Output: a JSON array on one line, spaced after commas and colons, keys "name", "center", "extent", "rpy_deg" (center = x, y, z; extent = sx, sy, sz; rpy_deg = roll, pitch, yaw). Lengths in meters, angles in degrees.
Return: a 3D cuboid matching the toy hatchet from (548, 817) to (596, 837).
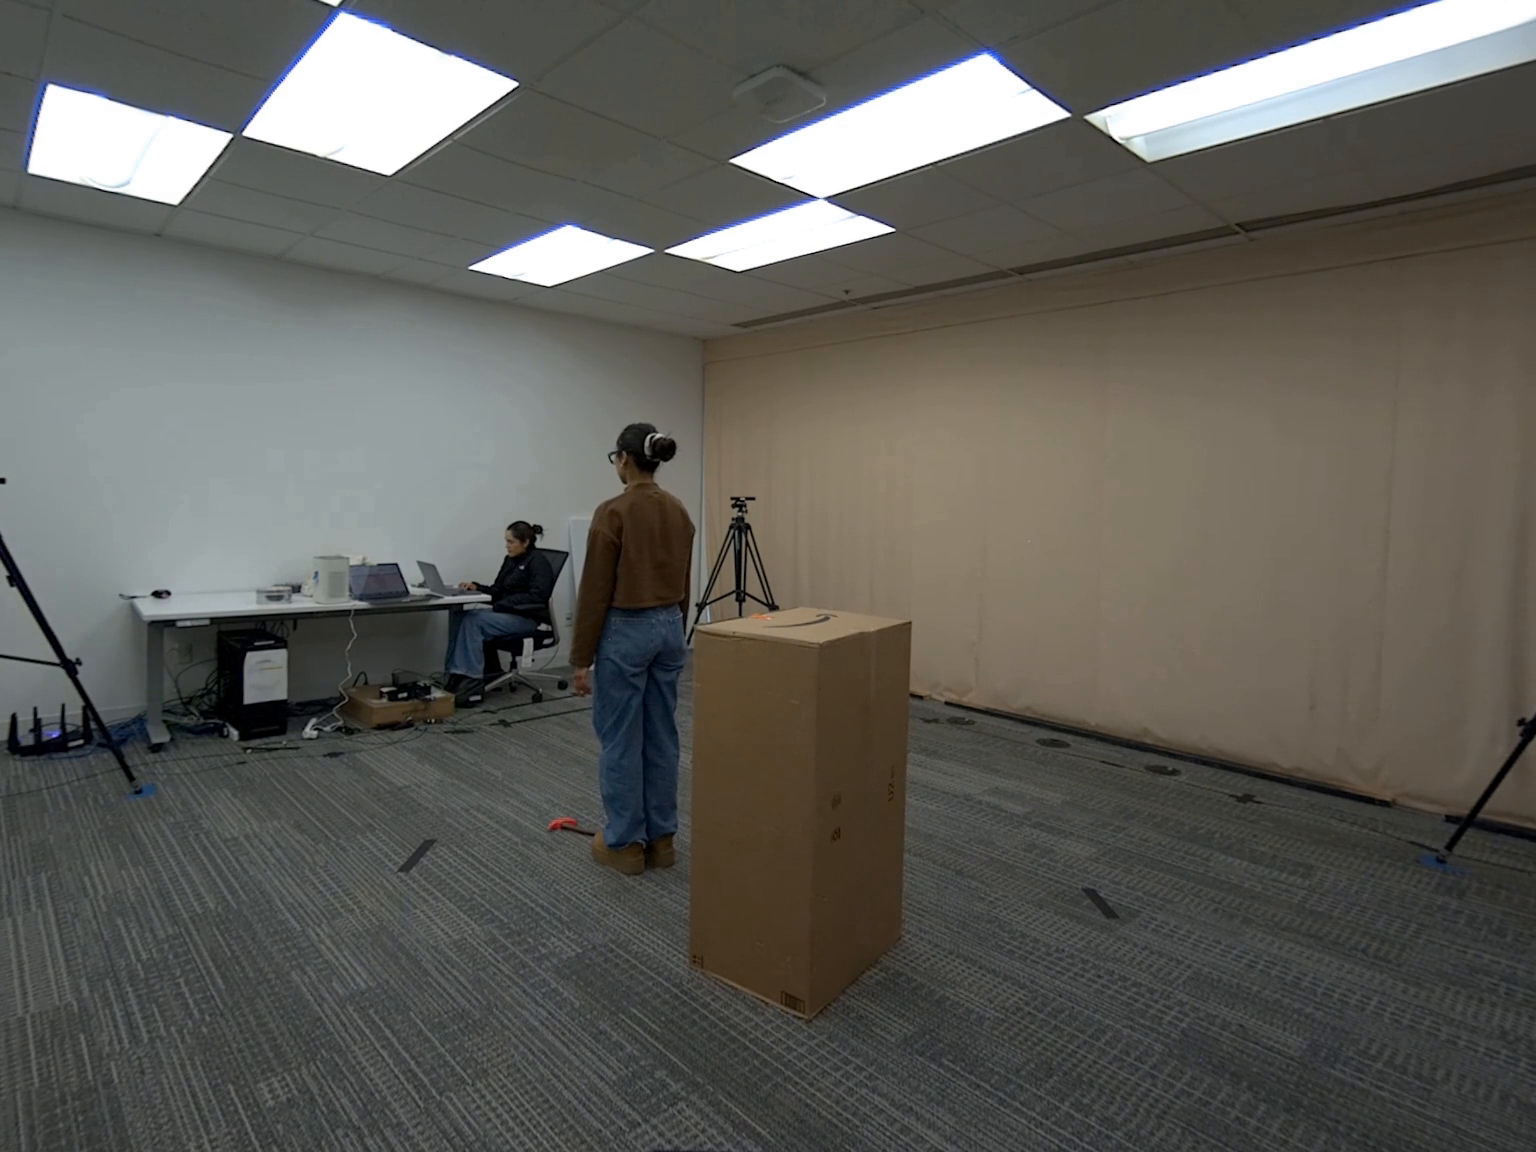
[{"name": "toy hatchet", "center": [-0.787, 1.050, 3.511], "extent": [0.273, 0.029, 0.129], "rpy_deg": [5, 2, 13]}]
